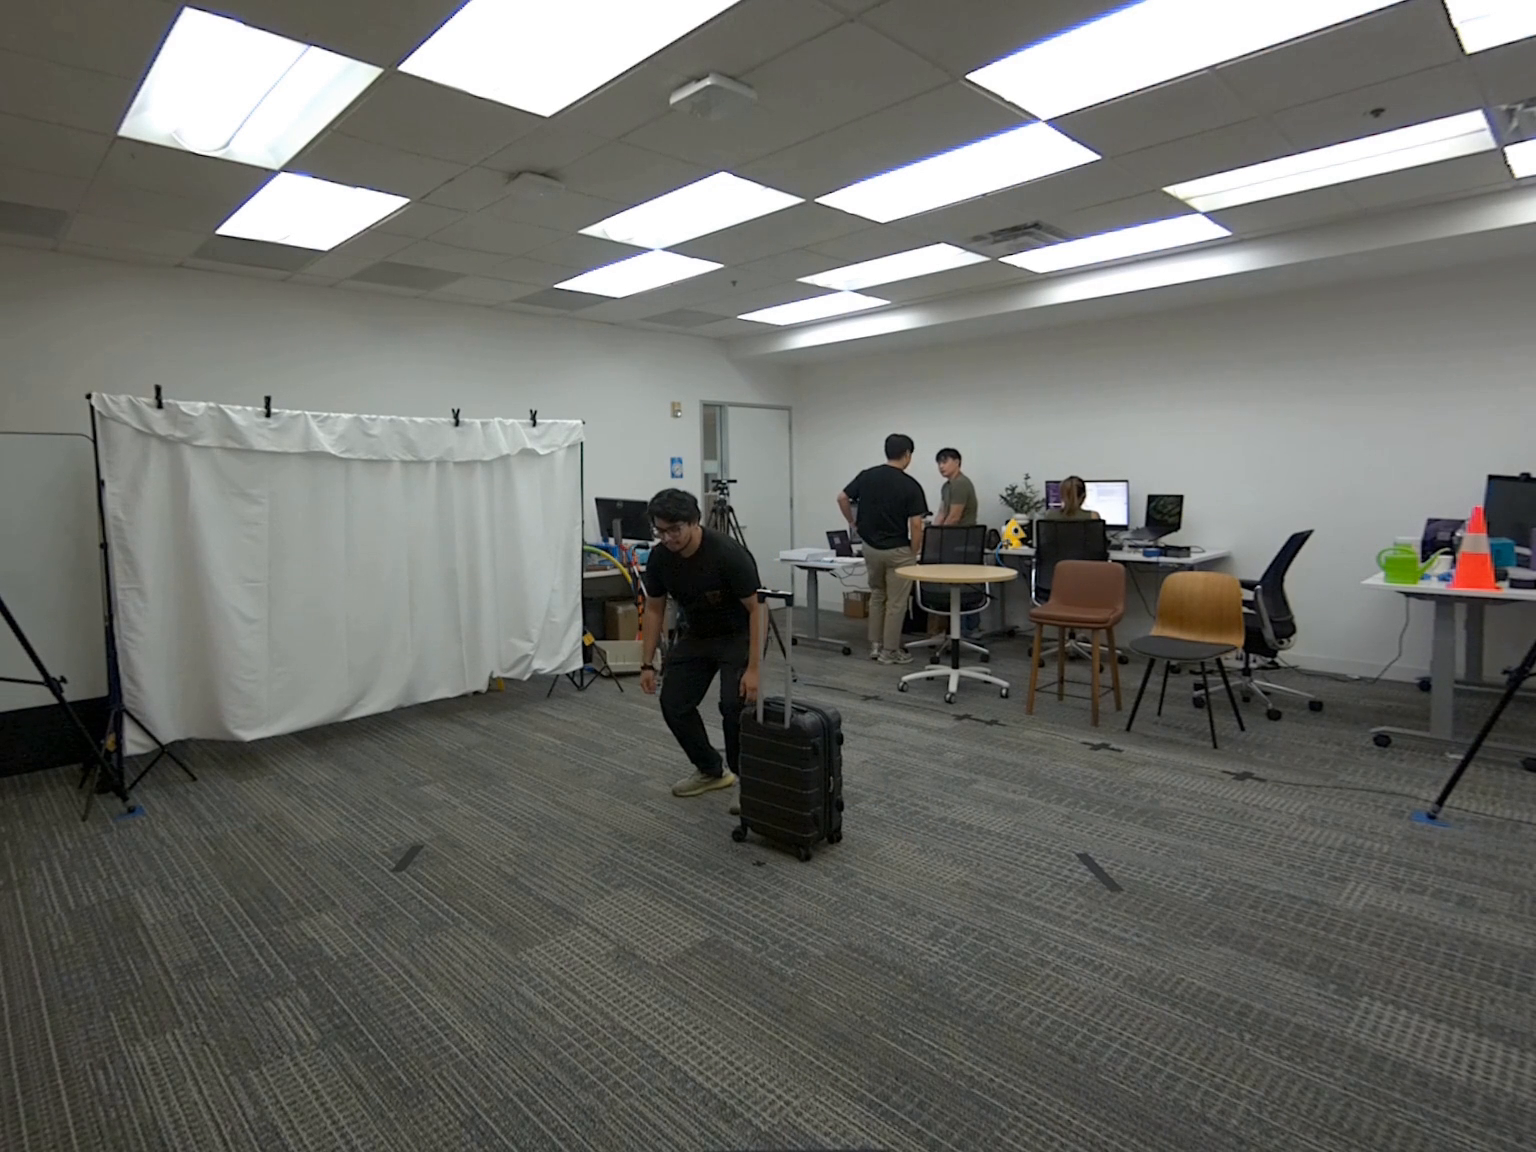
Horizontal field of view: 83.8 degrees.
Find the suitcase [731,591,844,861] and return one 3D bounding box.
[{"bbox_3d":[0.094,0.551,3.263,0.396,0.976,0.250,4,4,39],"label":"suitcase"}]
